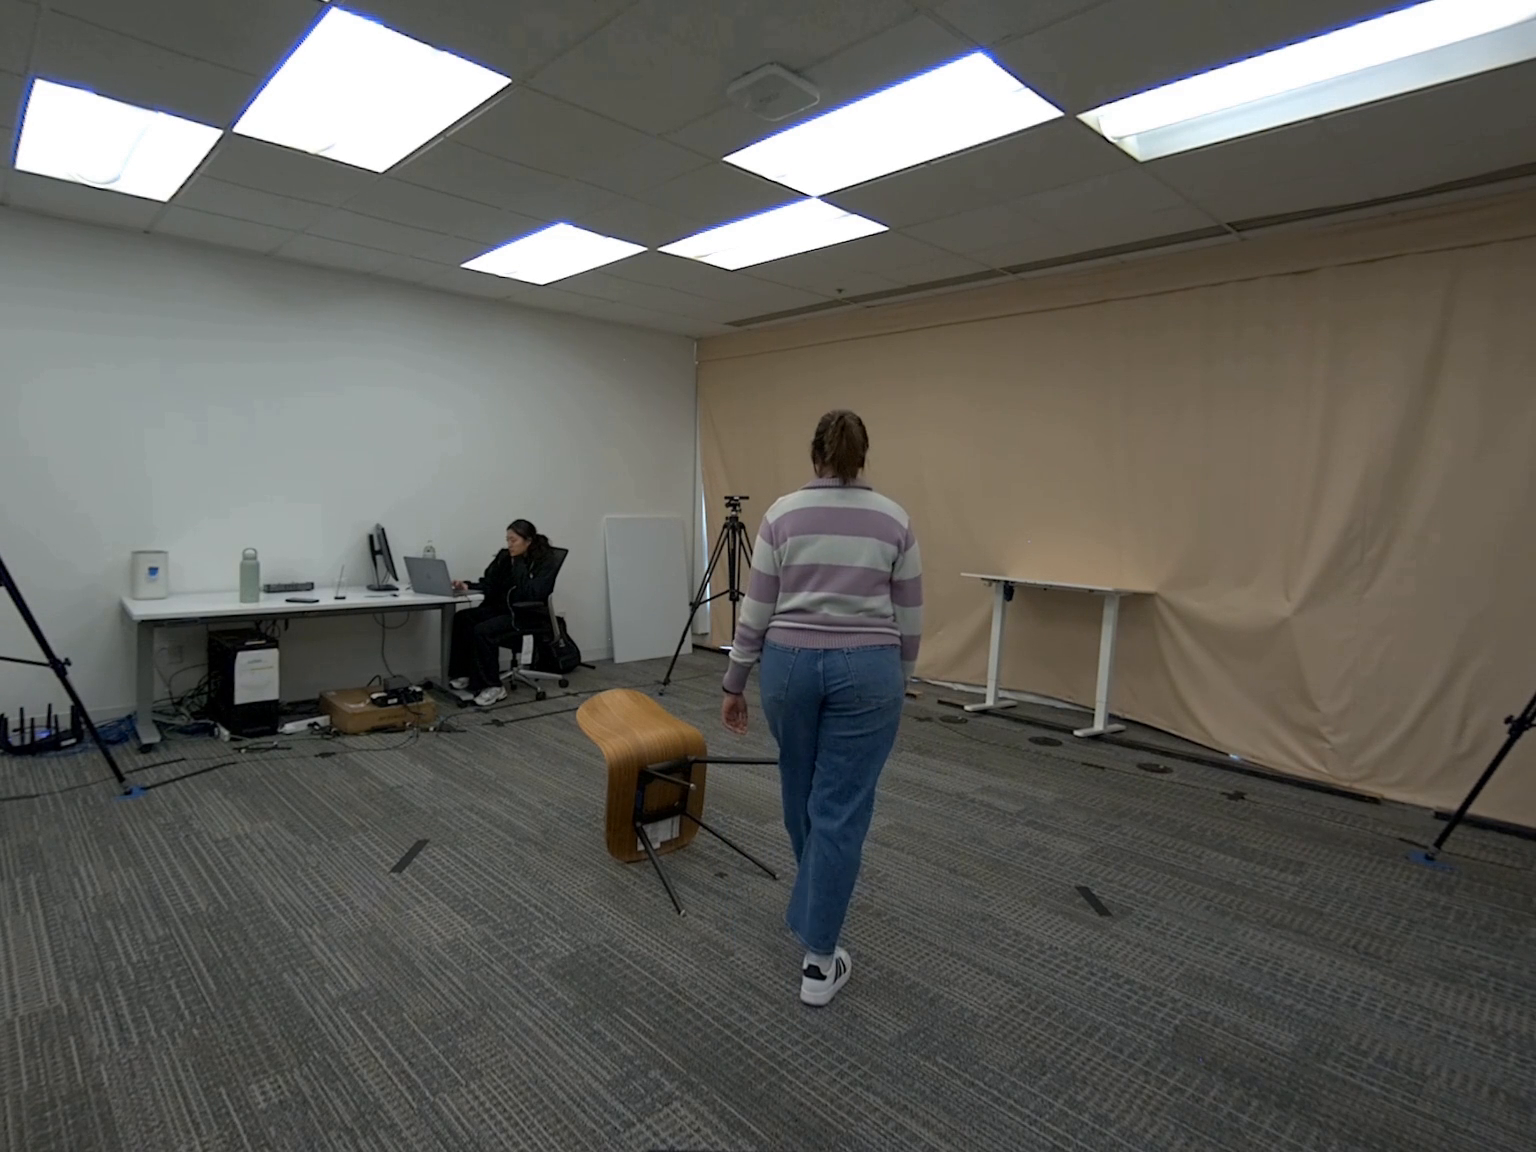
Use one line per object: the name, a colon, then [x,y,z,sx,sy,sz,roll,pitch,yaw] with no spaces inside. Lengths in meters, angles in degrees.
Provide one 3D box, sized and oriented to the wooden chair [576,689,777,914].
wooden chair: [-0.401,0.833,3.230,0.467,0.519,0.903,-3,15,-42]
